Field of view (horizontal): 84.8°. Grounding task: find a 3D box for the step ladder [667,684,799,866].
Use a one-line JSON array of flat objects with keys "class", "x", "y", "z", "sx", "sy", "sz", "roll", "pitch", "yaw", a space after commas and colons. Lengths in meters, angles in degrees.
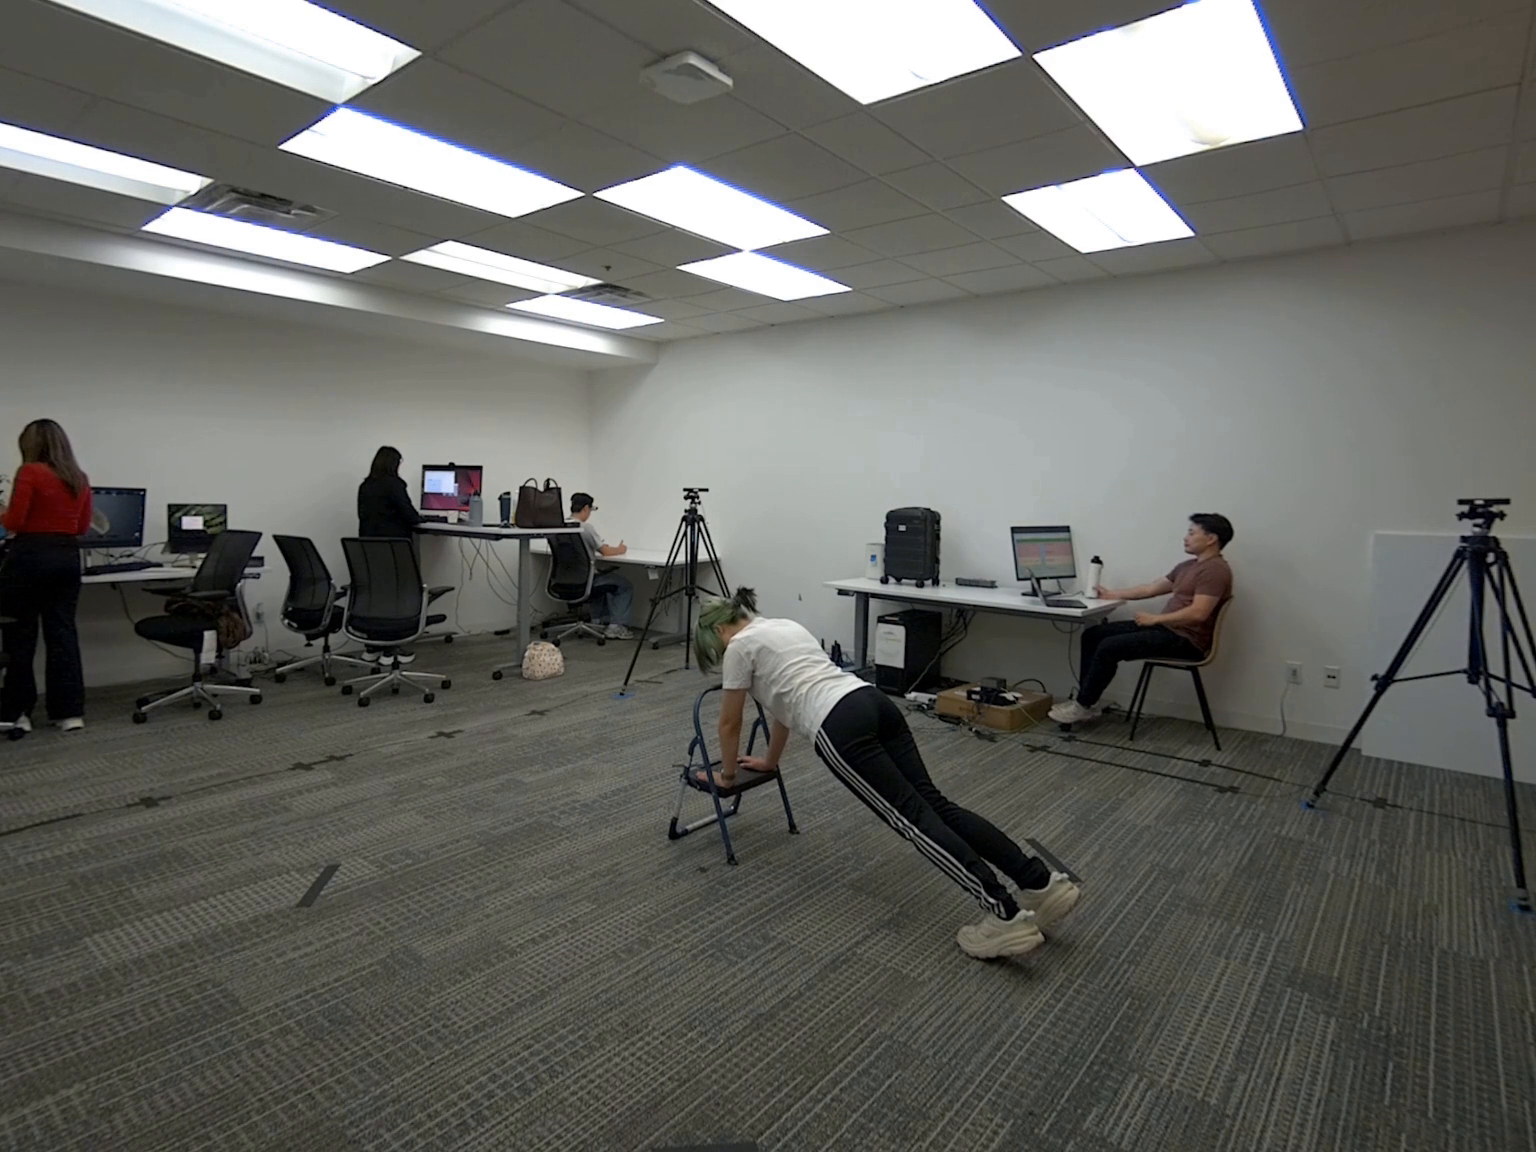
[{"class": "step ladder", "x": -0.144, "y": 0.741, "z": 3.403, "sx": 0.361, "sy": 0.604, "sz": 0.418, "roll": 4, "pitch": 4, "yaw": 38}]
